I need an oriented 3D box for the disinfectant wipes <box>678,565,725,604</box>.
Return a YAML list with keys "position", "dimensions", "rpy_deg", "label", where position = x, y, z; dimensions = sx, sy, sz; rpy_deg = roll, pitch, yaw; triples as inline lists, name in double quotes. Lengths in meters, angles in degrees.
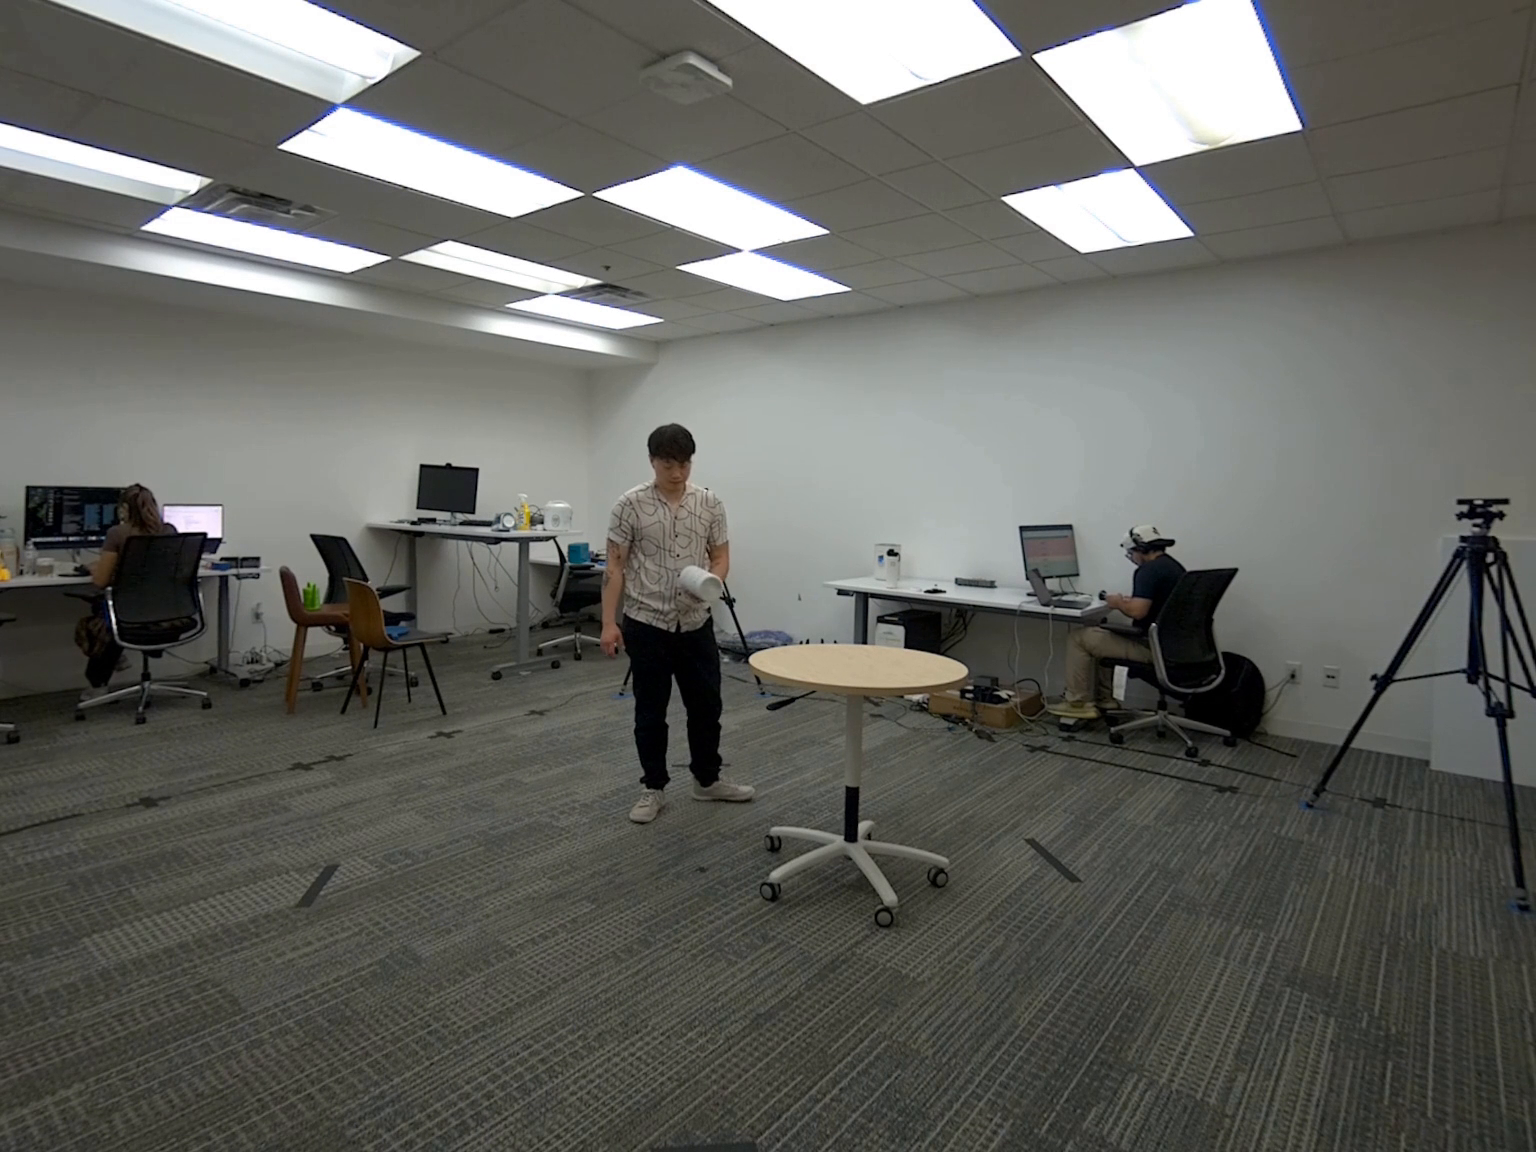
- position: [-0.276, 0.025, 3.378]
  dimensions: [0.115, 0.117, 0.224]
  rpy_deg: [-1, 10, -25]
  label: "disinfectant wipes"
